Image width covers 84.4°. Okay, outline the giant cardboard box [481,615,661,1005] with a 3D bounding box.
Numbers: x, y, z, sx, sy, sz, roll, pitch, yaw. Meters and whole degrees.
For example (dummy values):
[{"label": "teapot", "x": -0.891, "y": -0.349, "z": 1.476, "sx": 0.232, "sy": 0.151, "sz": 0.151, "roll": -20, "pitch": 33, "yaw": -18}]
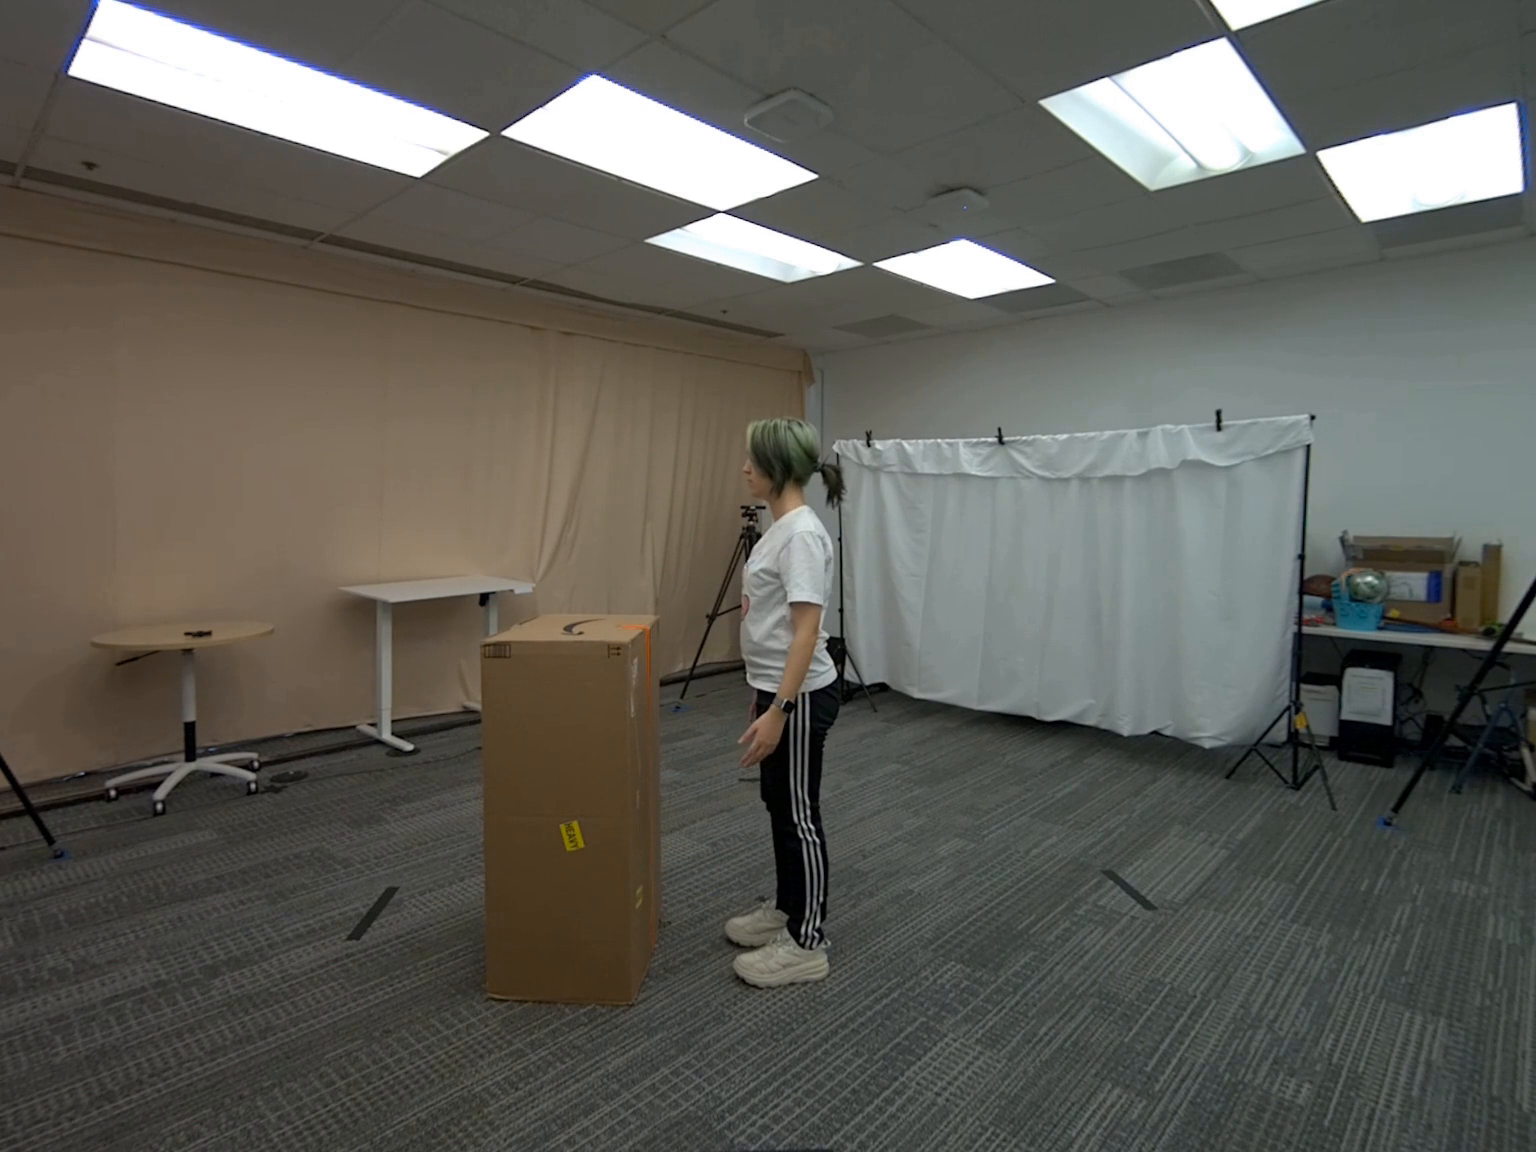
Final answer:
[{"label": "giant cardboard box", "x": -0.580, "y": 0.670, "z": 2.622, "sx": 0.448, "sy": 1.025, "sz": 0.583, "roll": 0, "pitch": 3, "yaw": 2}]
